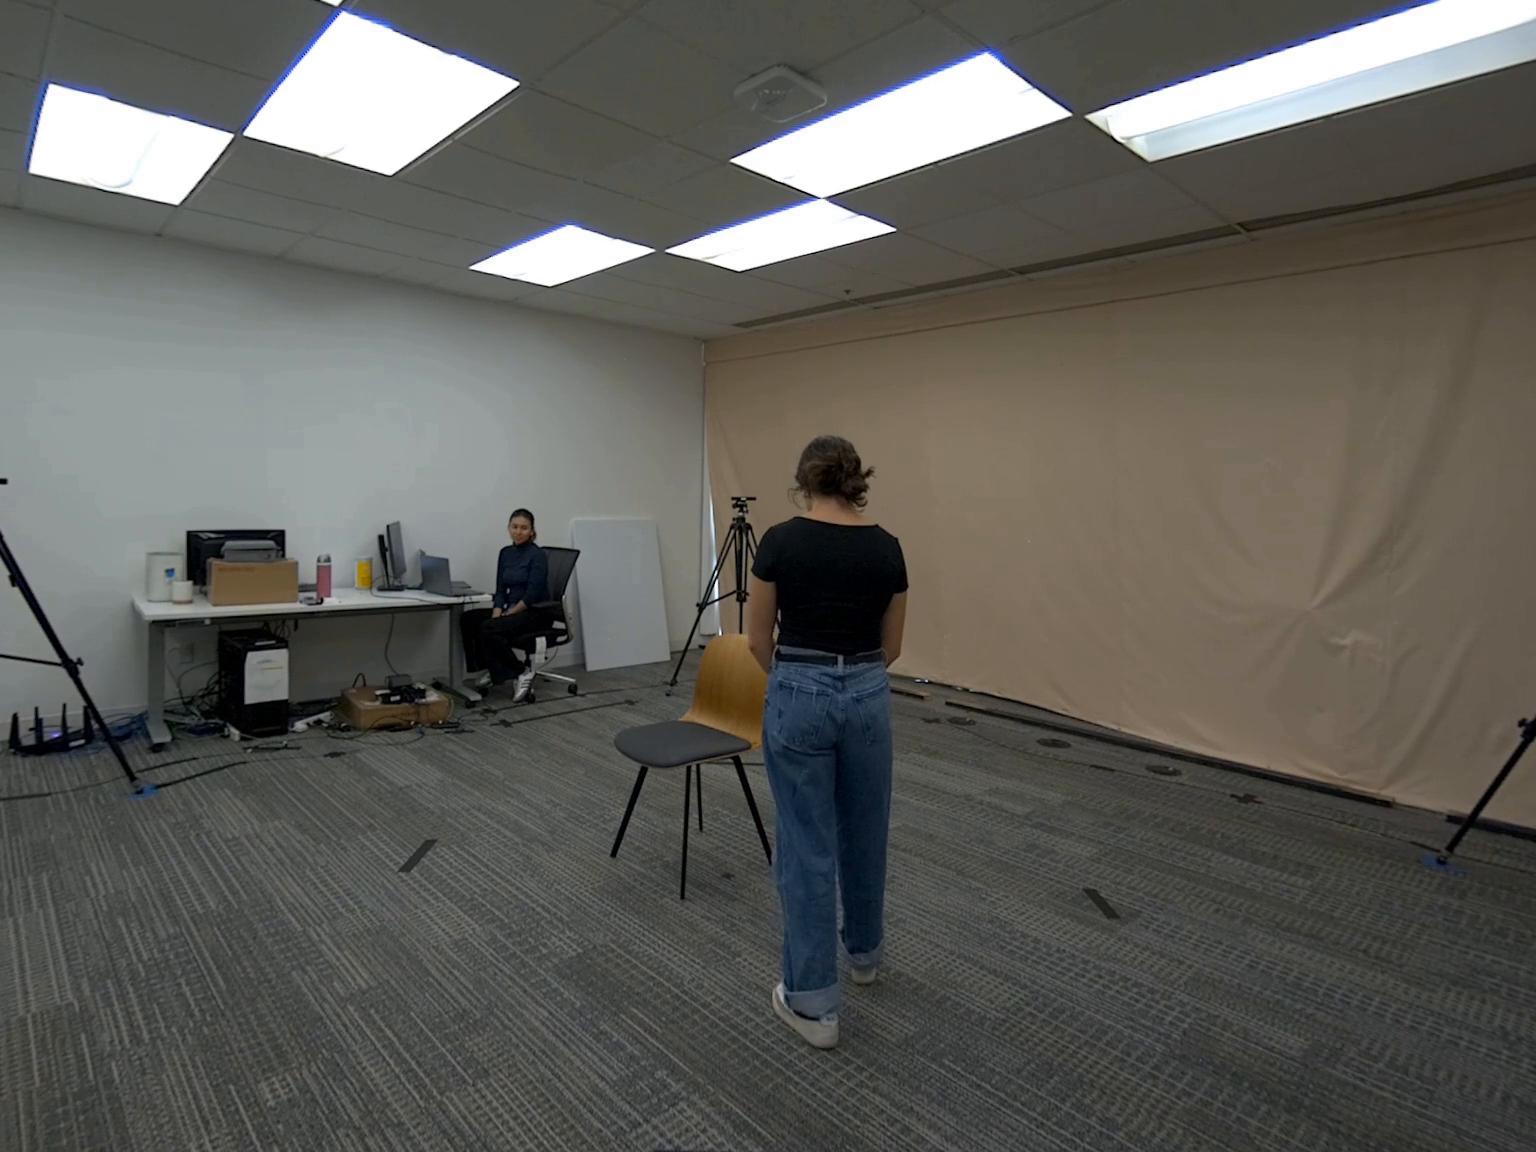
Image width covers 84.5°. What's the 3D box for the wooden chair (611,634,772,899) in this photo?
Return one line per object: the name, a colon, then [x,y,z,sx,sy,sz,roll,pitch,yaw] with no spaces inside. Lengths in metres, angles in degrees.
wooden chair: [-0.290,0.671,3.187,0.510,0.877,0.490,4,1,-43]
